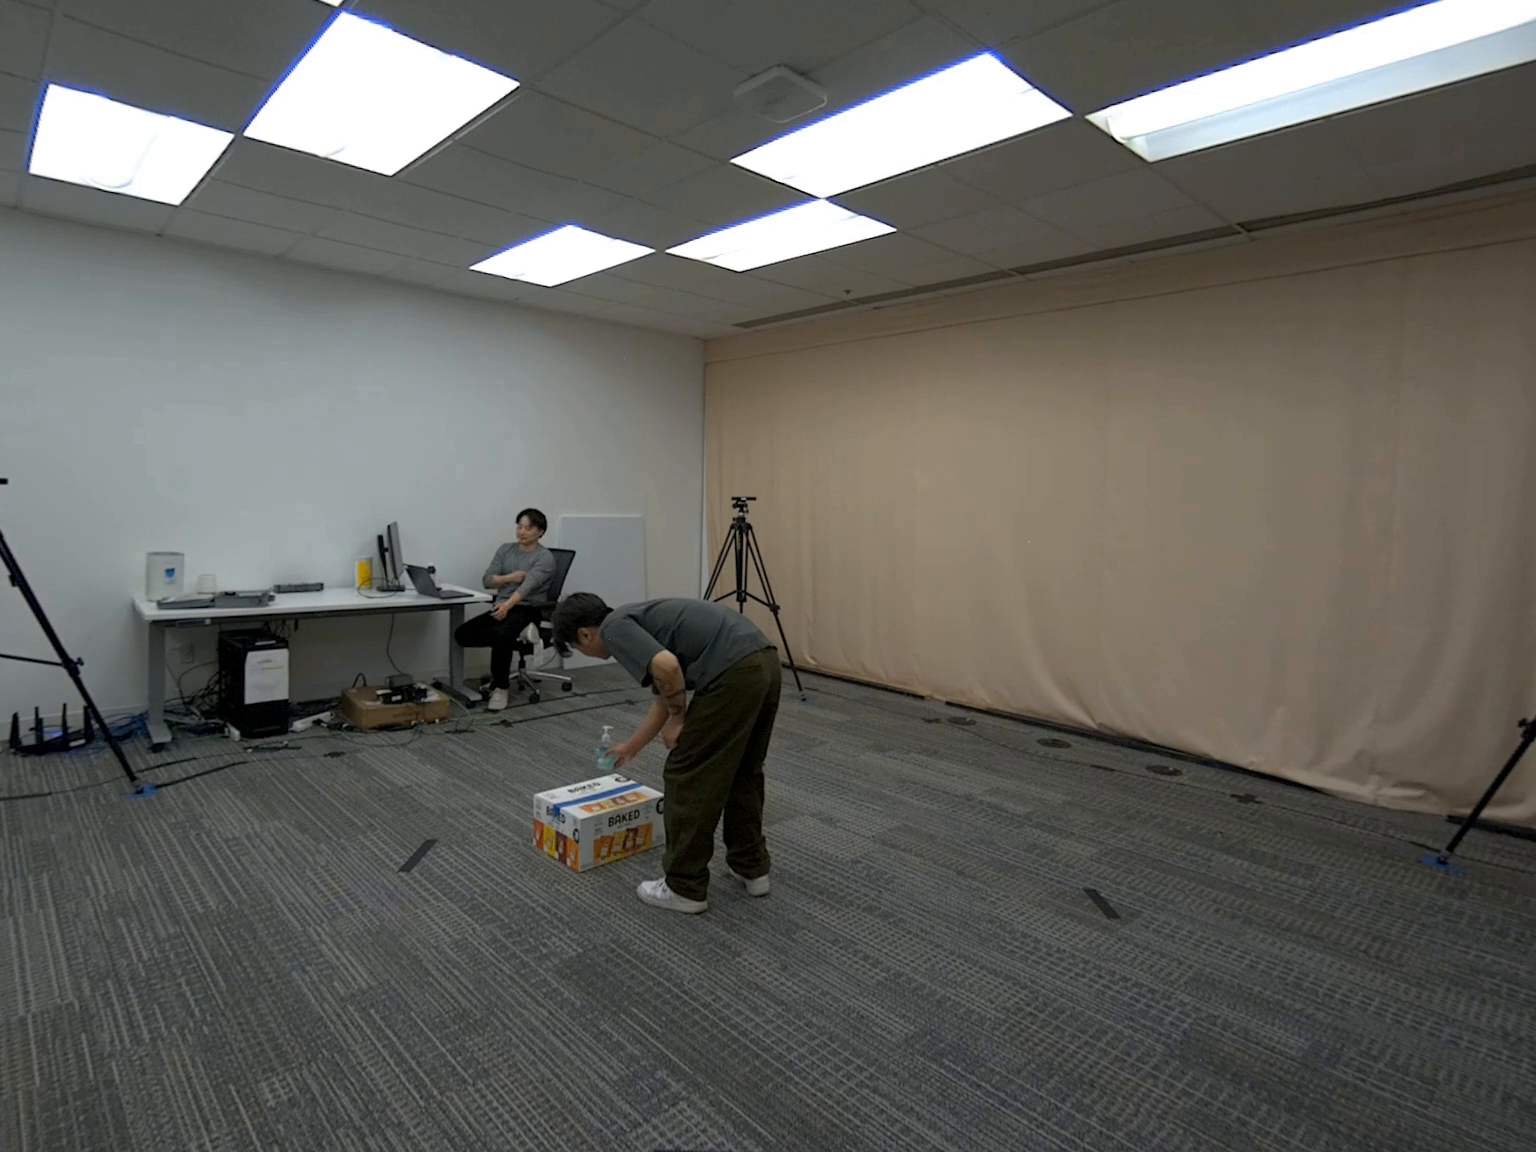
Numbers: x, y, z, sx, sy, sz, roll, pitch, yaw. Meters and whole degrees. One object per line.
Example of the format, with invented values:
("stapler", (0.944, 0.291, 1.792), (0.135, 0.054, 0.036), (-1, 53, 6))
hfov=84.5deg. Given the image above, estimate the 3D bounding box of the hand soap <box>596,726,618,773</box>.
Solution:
("hand soap", (-0.649, 0.686, 3.357), (0.085, 0.168, 0.043), (-3, -2, 6))
